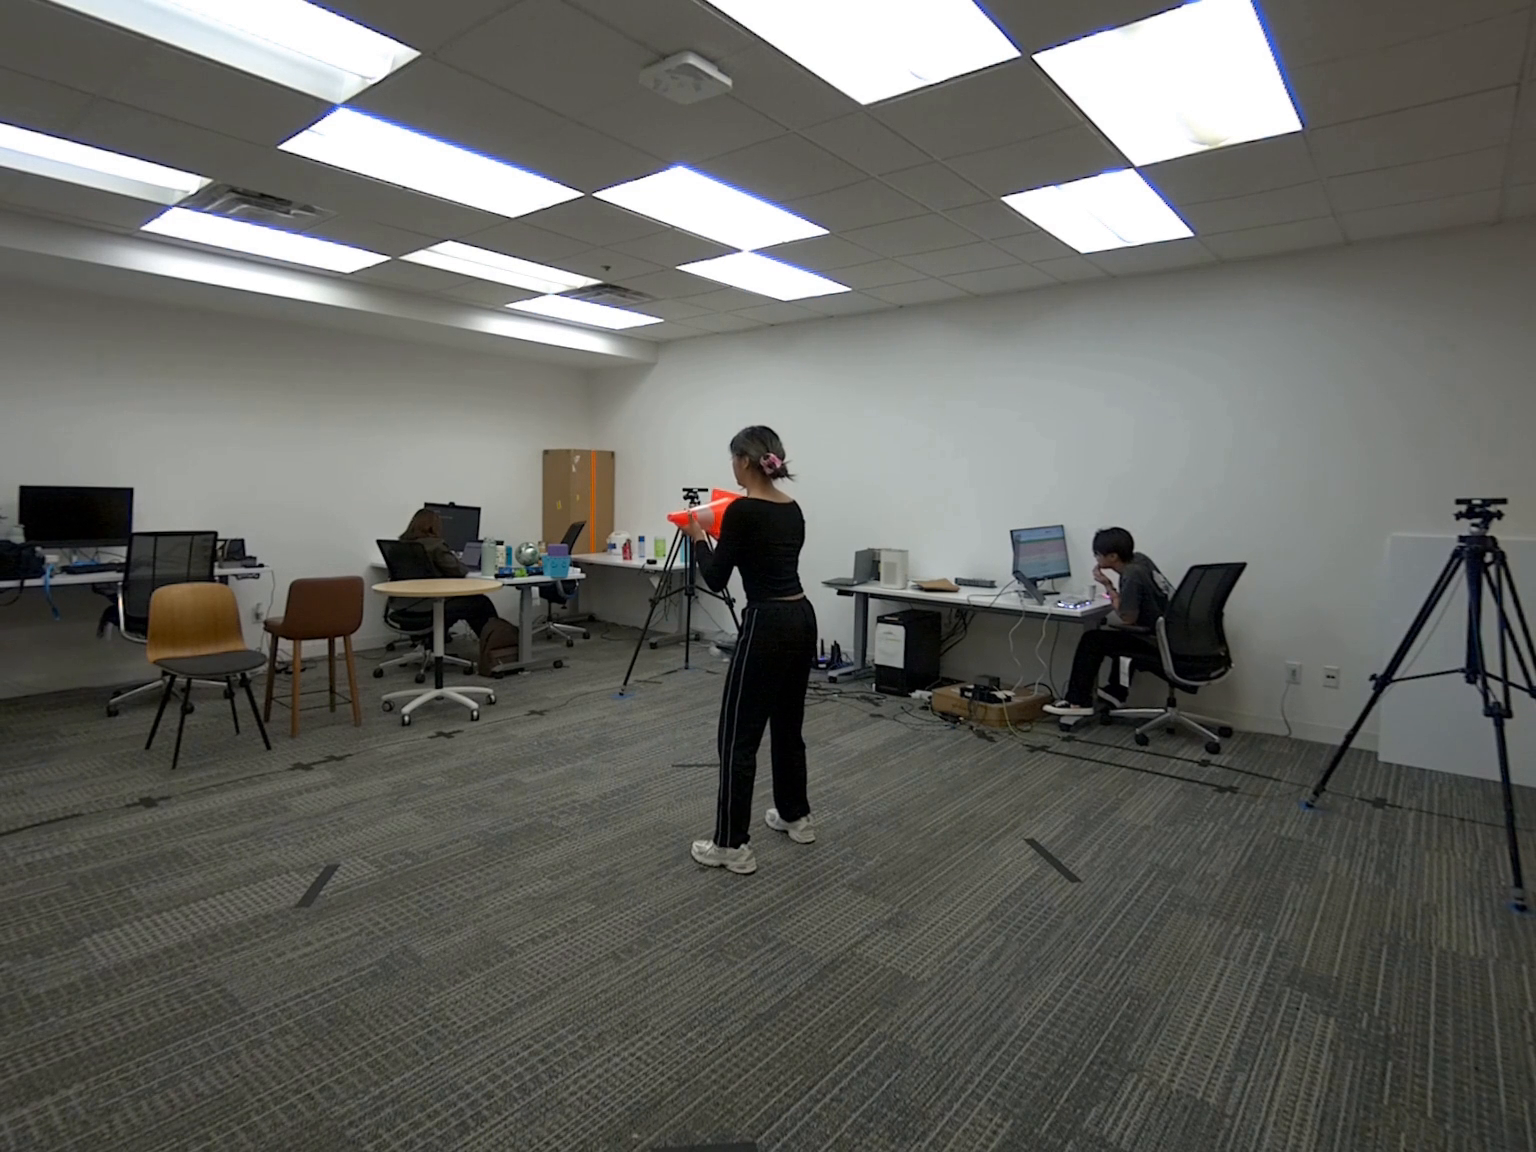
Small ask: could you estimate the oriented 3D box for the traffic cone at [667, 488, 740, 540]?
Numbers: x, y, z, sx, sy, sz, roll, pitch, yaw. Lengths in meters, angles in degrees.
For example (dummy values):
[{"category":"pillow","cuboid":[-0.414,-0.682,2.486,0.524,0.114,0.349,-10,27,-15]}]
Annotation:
[{"category":"traffic cone","cuboid":[-0.275,-0.240,3.425,0.211,0.203,0.373,16,13,33]}]
